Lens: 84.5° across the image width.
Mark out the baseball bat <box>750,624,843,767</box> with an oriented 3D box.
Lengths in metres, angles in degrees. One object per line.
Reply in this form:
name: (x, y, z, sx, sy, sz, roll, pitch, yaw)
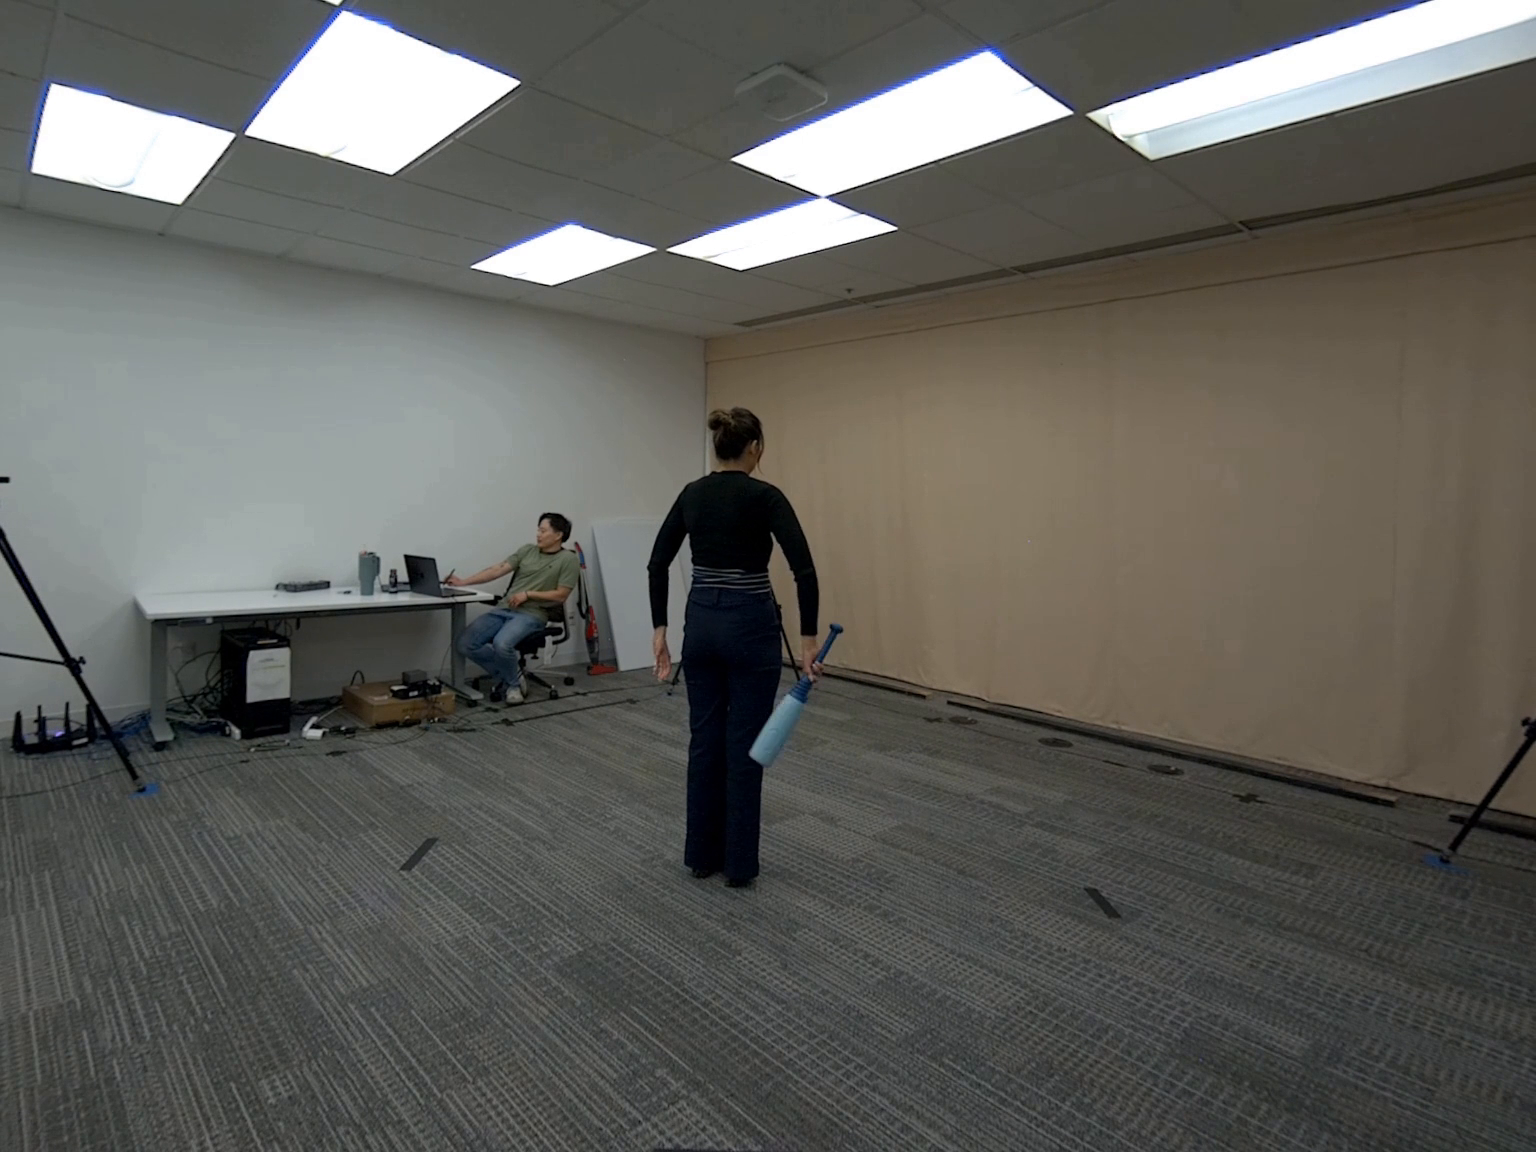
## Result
baseball bat: (0.101, 0.393, 2.890, 0.089, 0.544, 0.089, 30, -6, 2)
